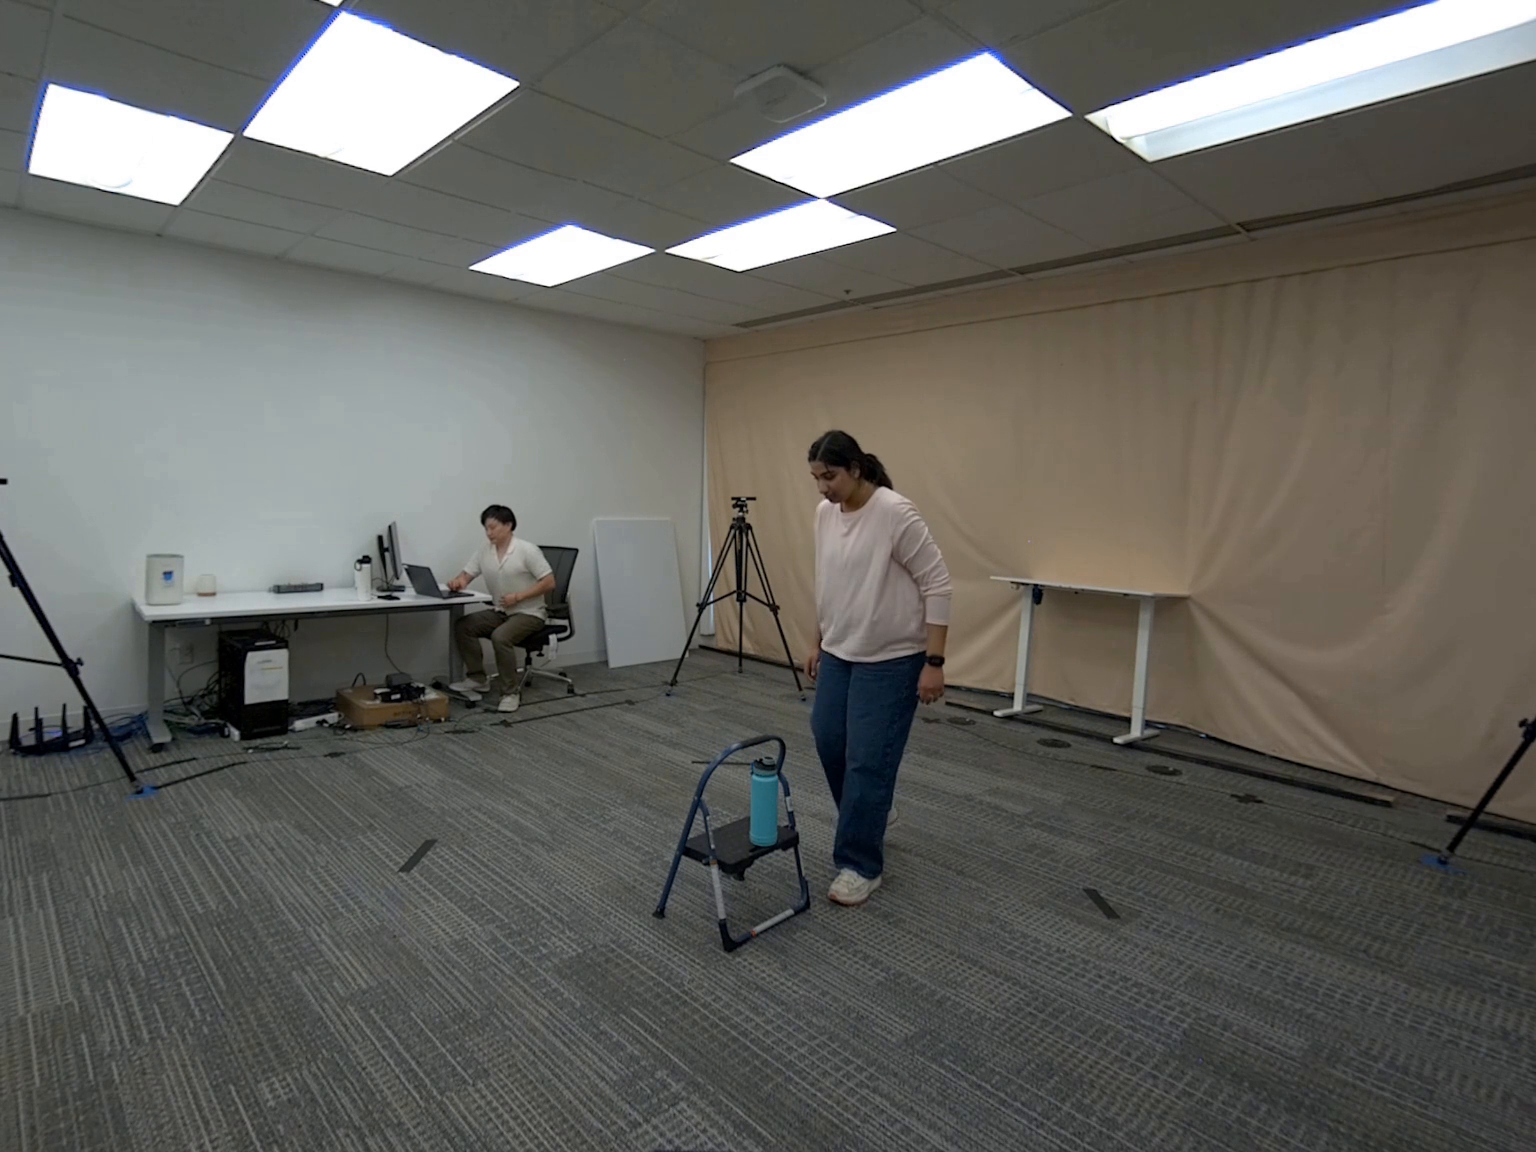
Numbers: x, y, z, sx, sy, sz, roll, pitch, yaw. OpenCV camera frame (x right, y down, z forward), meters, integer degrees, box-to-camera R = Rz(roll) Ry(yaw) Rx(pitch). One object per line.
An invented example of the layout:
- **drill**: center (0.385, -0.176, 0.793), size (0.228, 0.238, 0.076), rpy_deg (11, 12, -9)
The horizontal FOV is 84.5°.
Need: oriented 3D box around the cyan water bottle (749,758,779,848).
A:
- **cyan water bottle**: center (-0.020, 0.741, 2.768), size (0.092, 0.282, 0.093), rpy_deg (2, 5, -2)
